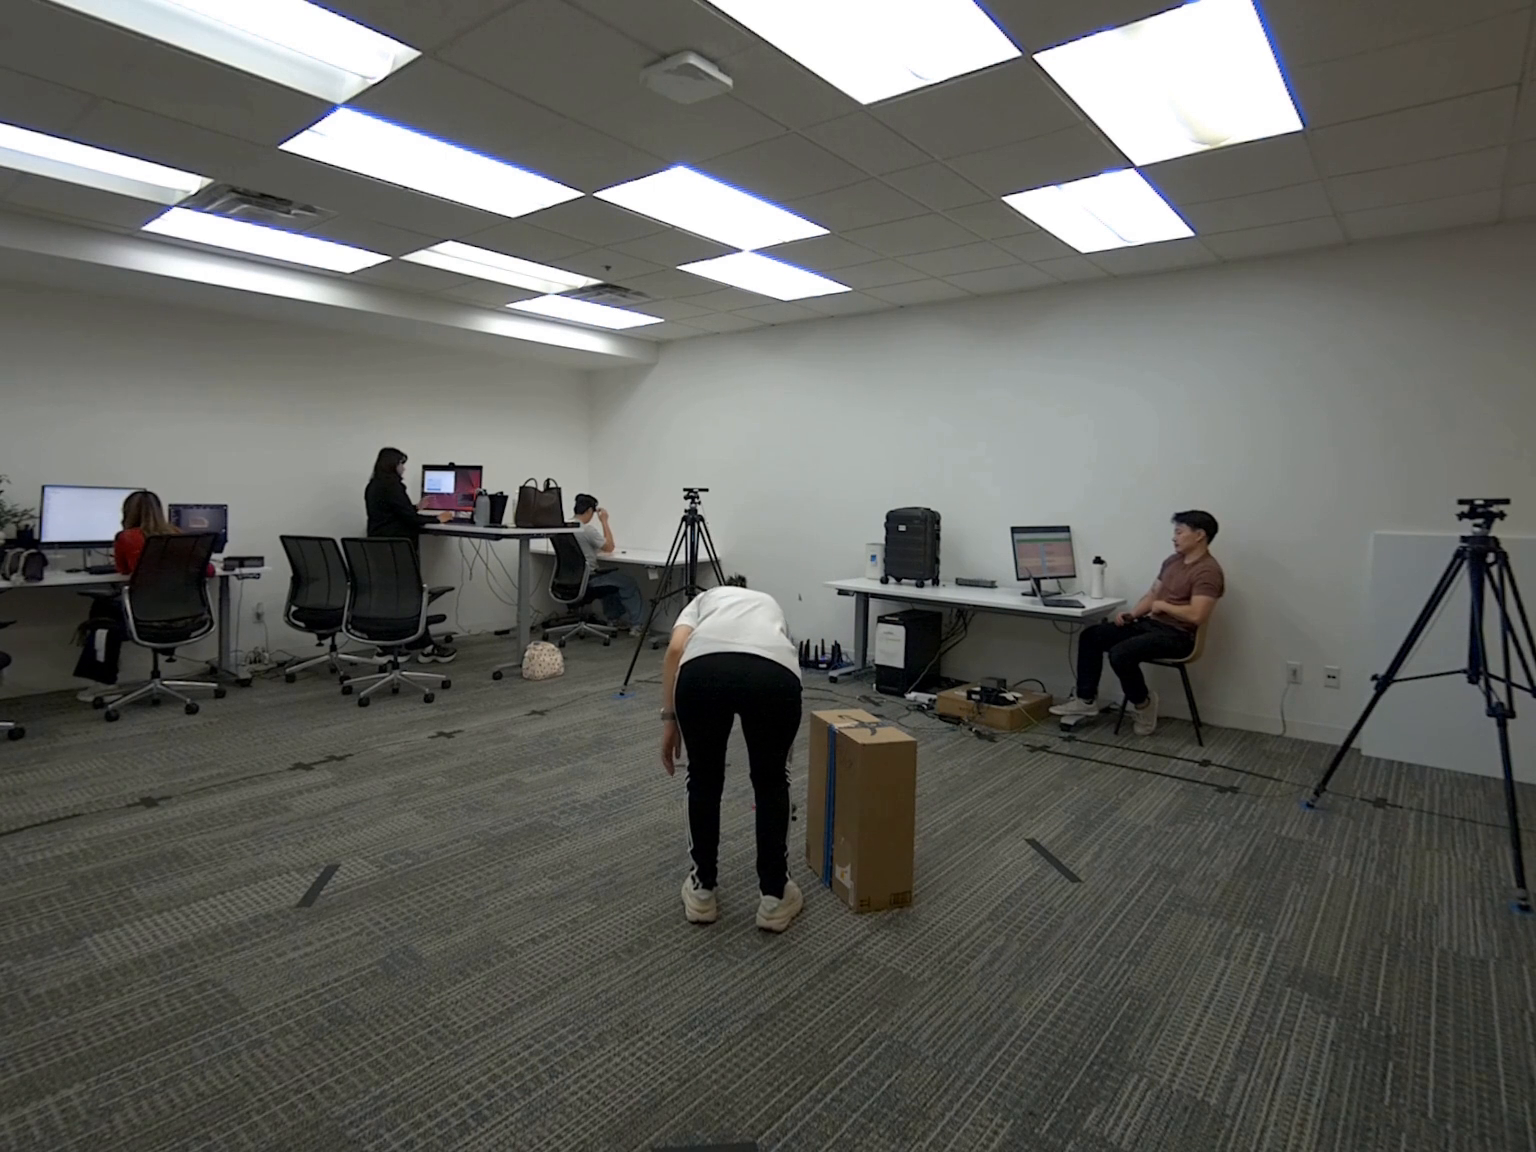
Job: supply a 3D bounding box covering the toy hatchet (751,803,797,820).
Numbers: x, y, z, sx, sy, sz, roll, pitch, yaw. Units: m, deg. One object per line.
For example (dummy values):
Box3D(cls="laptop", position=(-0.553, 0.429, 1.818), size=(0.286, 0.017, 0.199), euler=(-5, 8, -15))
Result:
Box3D(cls="toy hatchet", position=(0.042, 0.874, 3.148), size=(0.127, 0.030, 0.277), euler=(27, -17, -29))
